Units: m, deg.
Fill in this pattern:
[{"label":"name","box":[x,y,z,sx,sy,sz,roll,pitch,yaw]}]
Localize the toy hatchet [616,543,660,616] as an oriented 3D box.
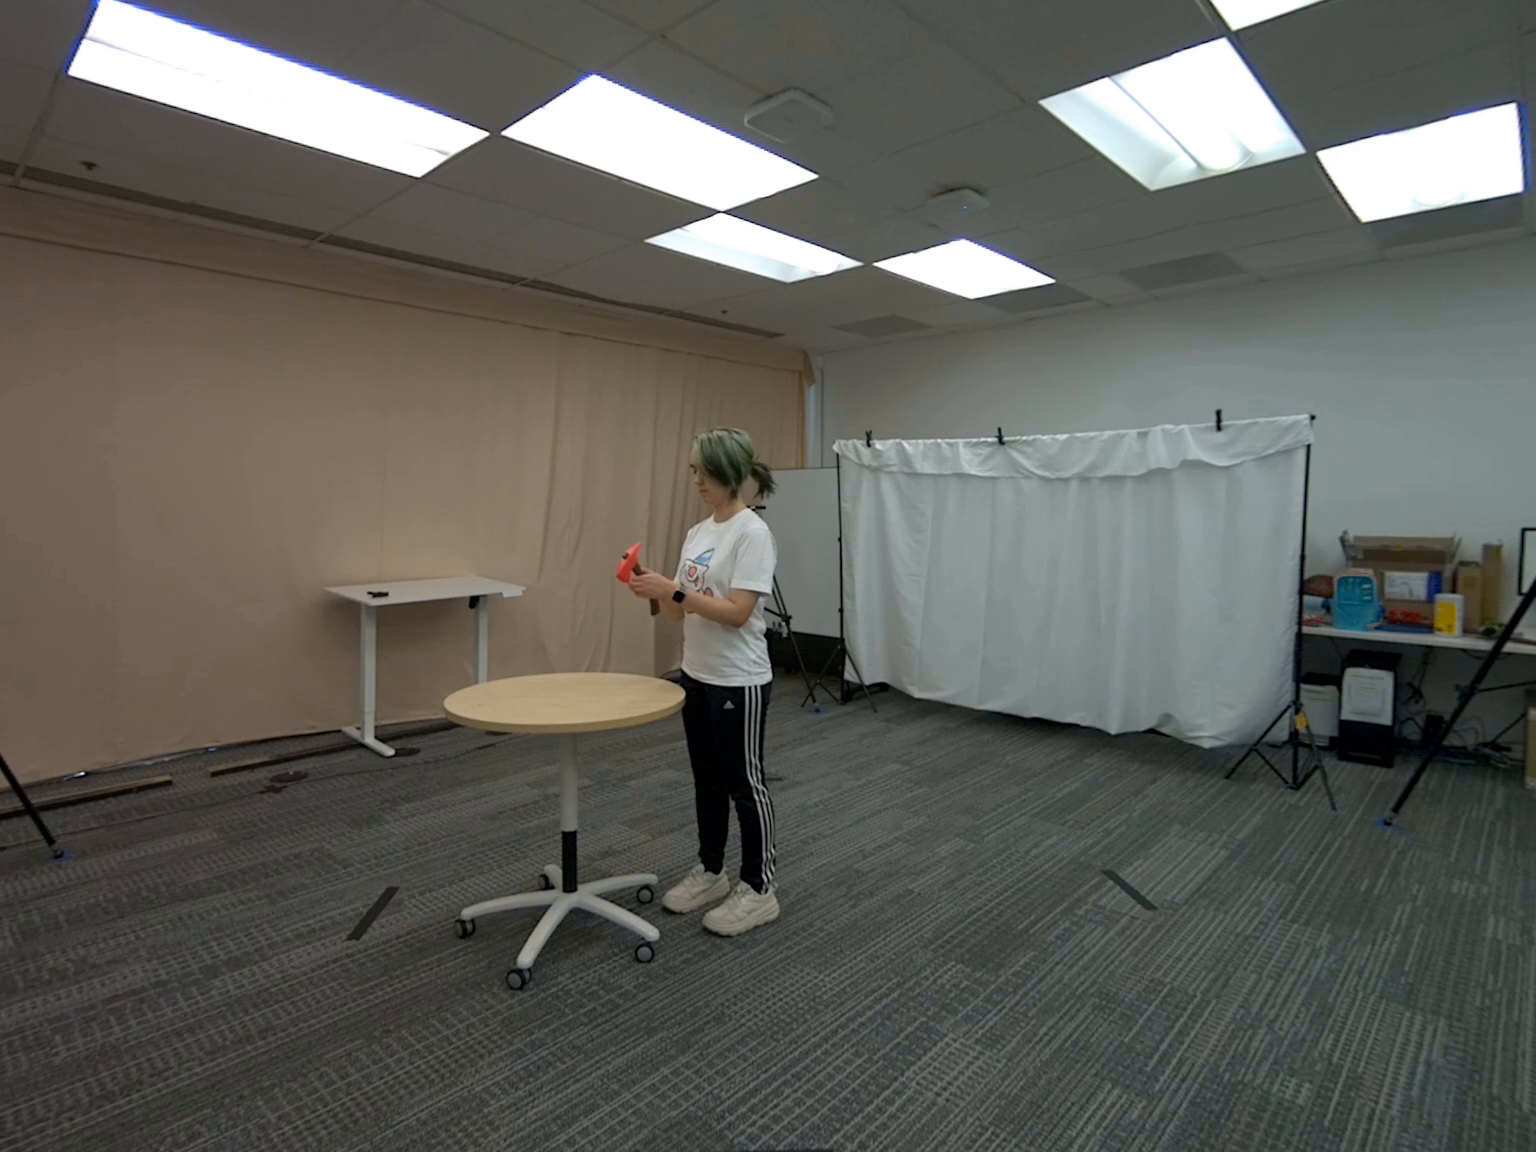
[{"label":"toy hatchet","box":[-0.401,0.031,2.652,0.030,0.264,0.129,12,38,34]}]
